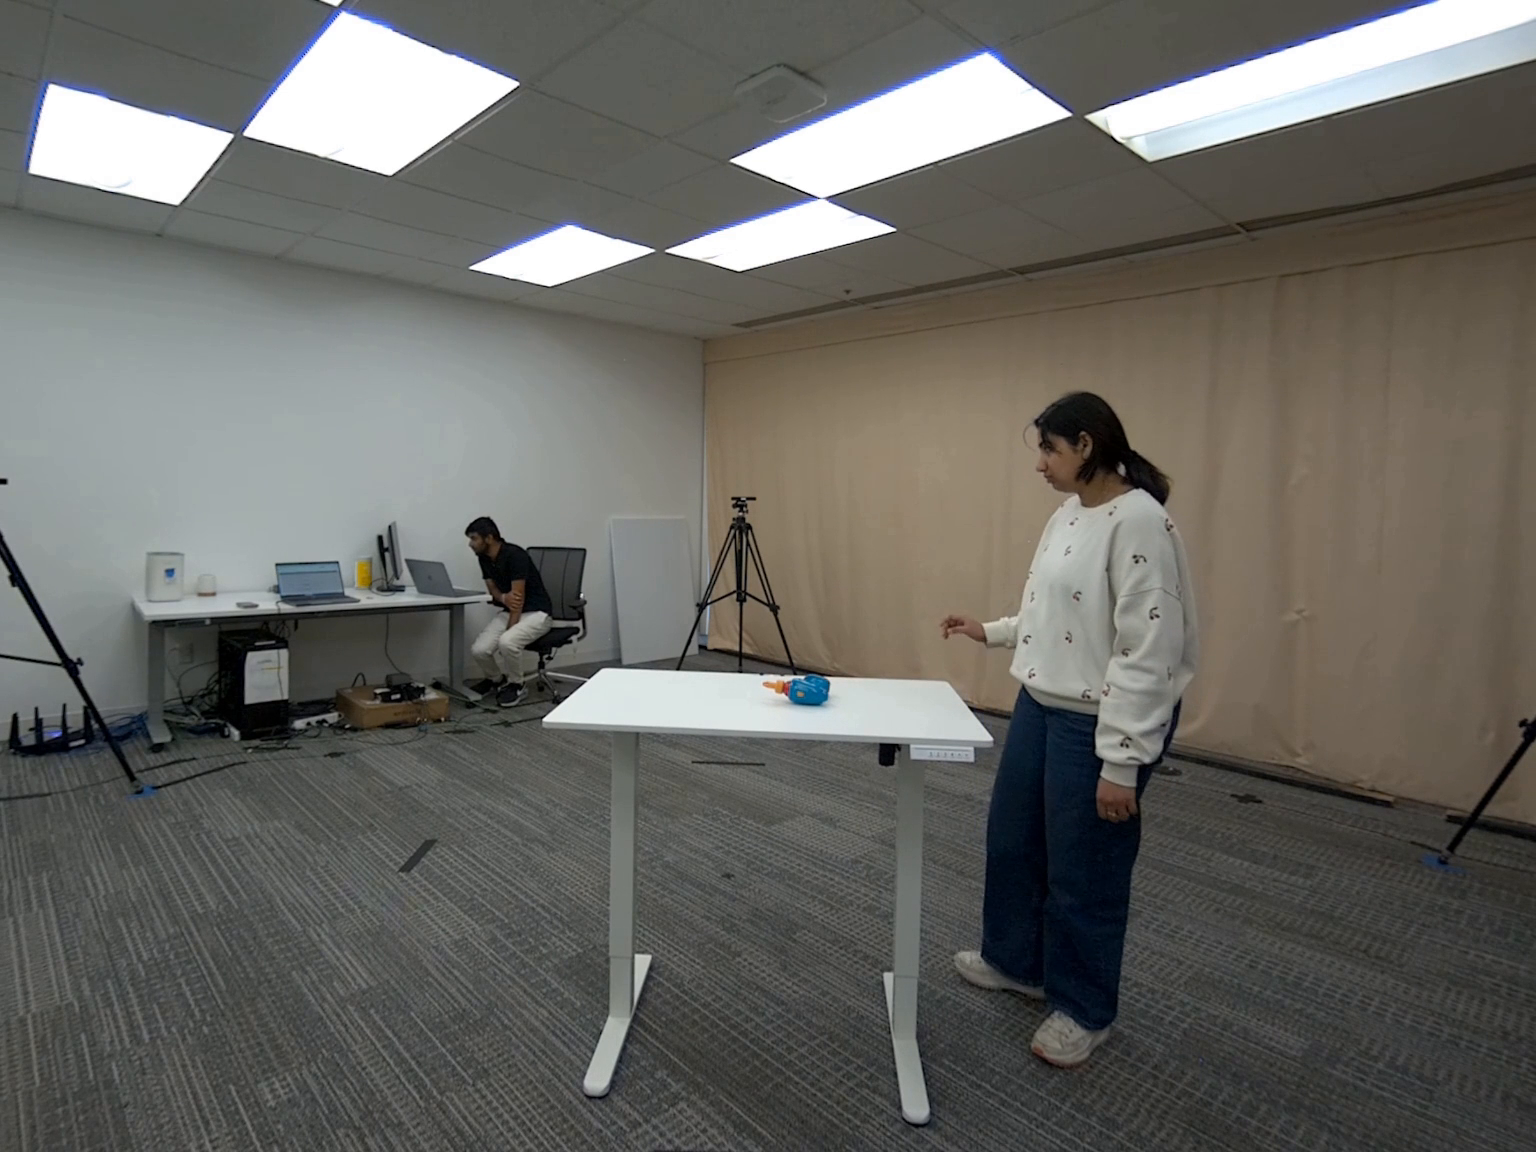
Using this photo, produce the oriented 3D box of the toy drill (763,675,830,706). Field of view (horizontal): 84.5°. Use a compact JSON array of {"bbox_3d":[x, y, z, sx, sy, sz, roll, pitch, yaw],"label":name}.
[{"bbox_3d":[0.064,0.281,2.163,0.172,0.061,0.145,7,6,13],"label":"toy drill"}]
